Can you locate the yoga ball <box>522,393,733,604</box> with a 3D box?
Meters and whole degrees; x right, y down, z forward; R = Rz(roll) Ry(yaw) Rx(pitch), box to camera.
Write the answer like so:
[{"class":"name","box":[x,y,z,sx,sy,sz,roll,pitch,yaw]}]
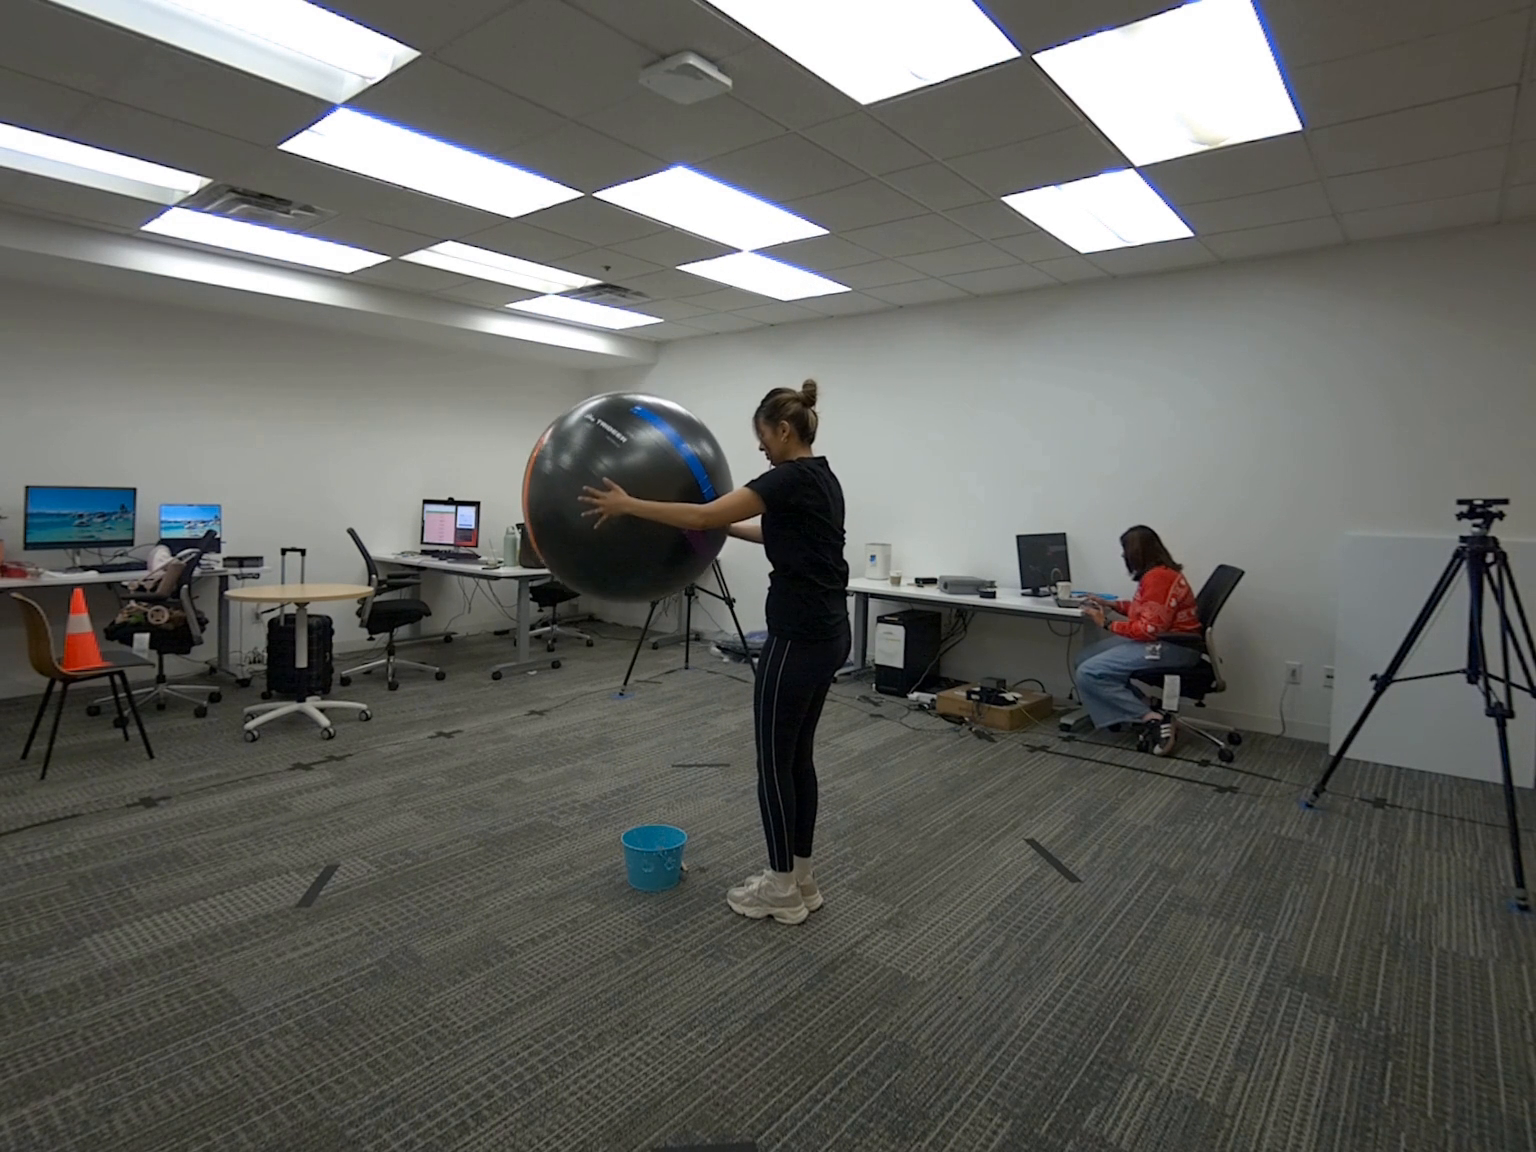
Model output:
[{"class":"yoga ball","box":[-0.511,-0.272,3.054,0.757,0.755,0.762,1,4,-2]}]
